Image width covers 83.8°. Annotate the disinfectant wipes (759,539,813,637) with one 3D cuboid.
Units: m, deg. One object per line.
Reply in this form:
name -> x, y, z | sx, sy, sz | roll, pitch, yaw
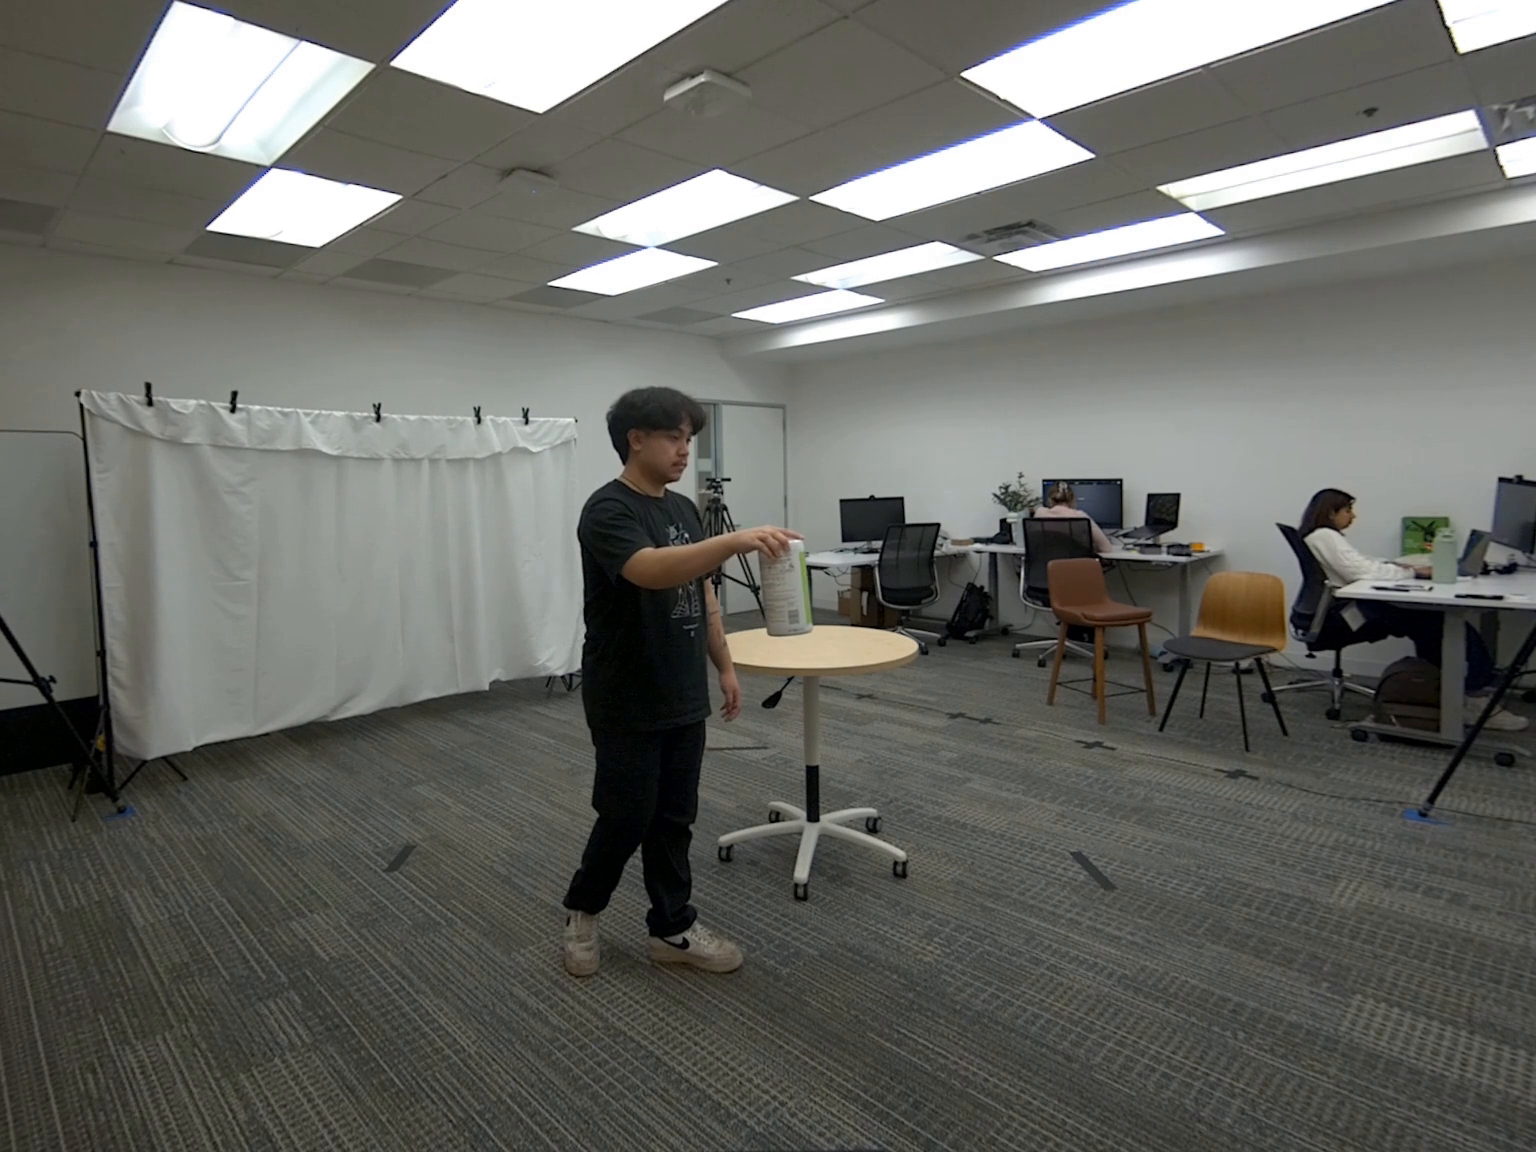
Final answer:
disinfectant wipes -> 0.042, 0.026, 1.987 | 0.118, 0.217, 0.118 | -4, 0, -2
